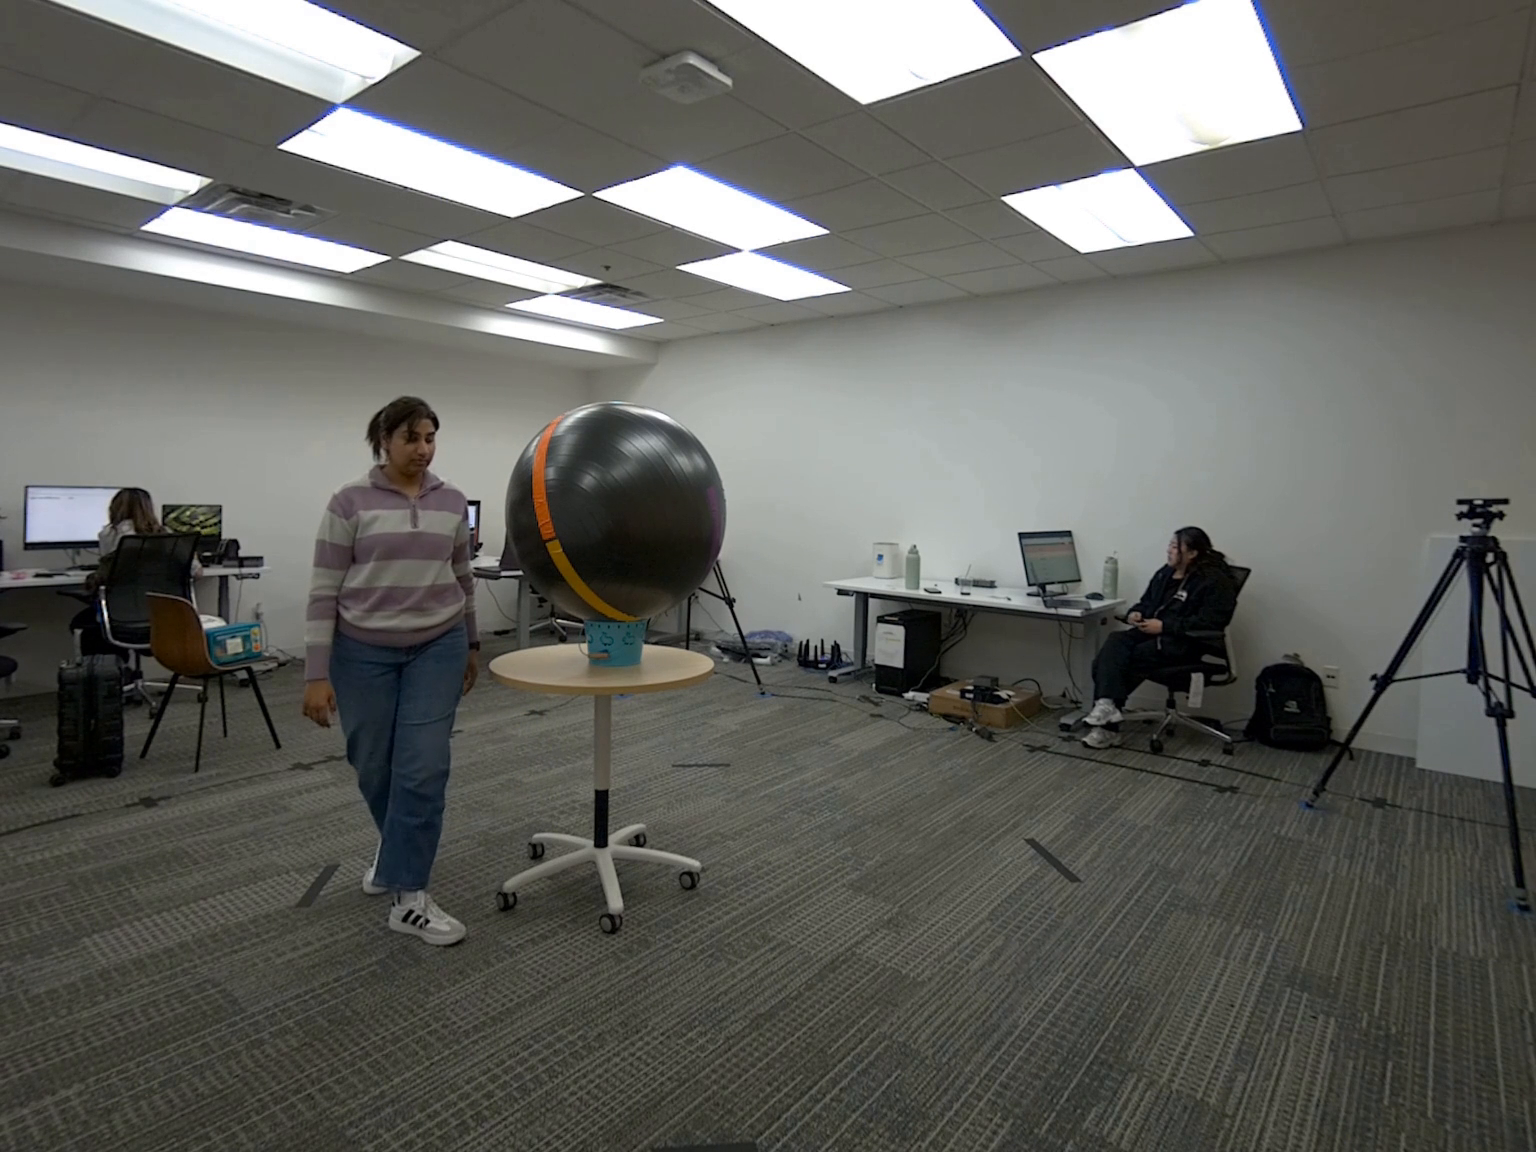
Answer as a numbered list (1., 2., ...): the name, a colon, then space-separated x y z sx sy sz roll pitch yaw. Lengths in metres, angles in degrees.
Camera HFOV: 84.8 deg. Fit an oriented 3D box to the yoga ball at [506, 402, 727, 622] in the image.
1. yoga ball: -0.527 -0.215 2.934 0.757 0.755 0.762 1 4 -2
